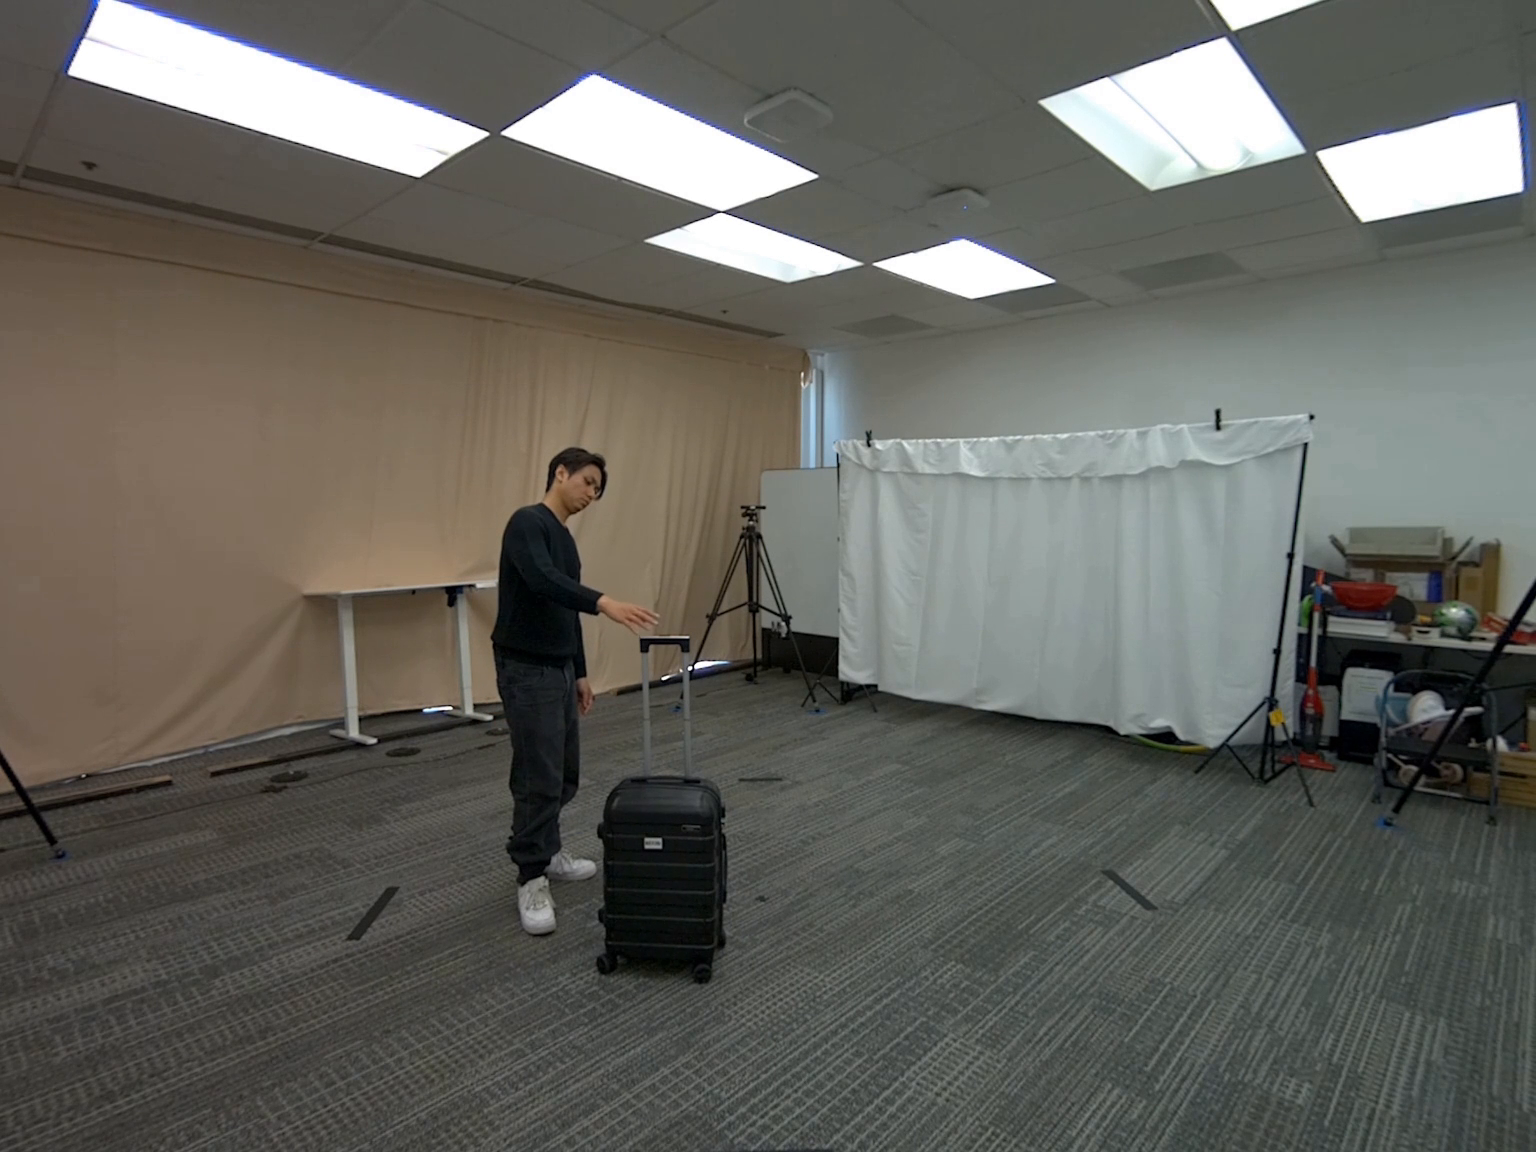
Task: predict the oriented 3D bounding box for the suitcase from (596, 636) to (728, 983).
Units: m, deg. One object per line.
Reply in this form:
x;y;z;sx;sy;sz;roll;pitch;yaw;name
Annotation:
-0.320;0.702;2.564;0.386;0.976;0.256;0;4;4;suitcase
